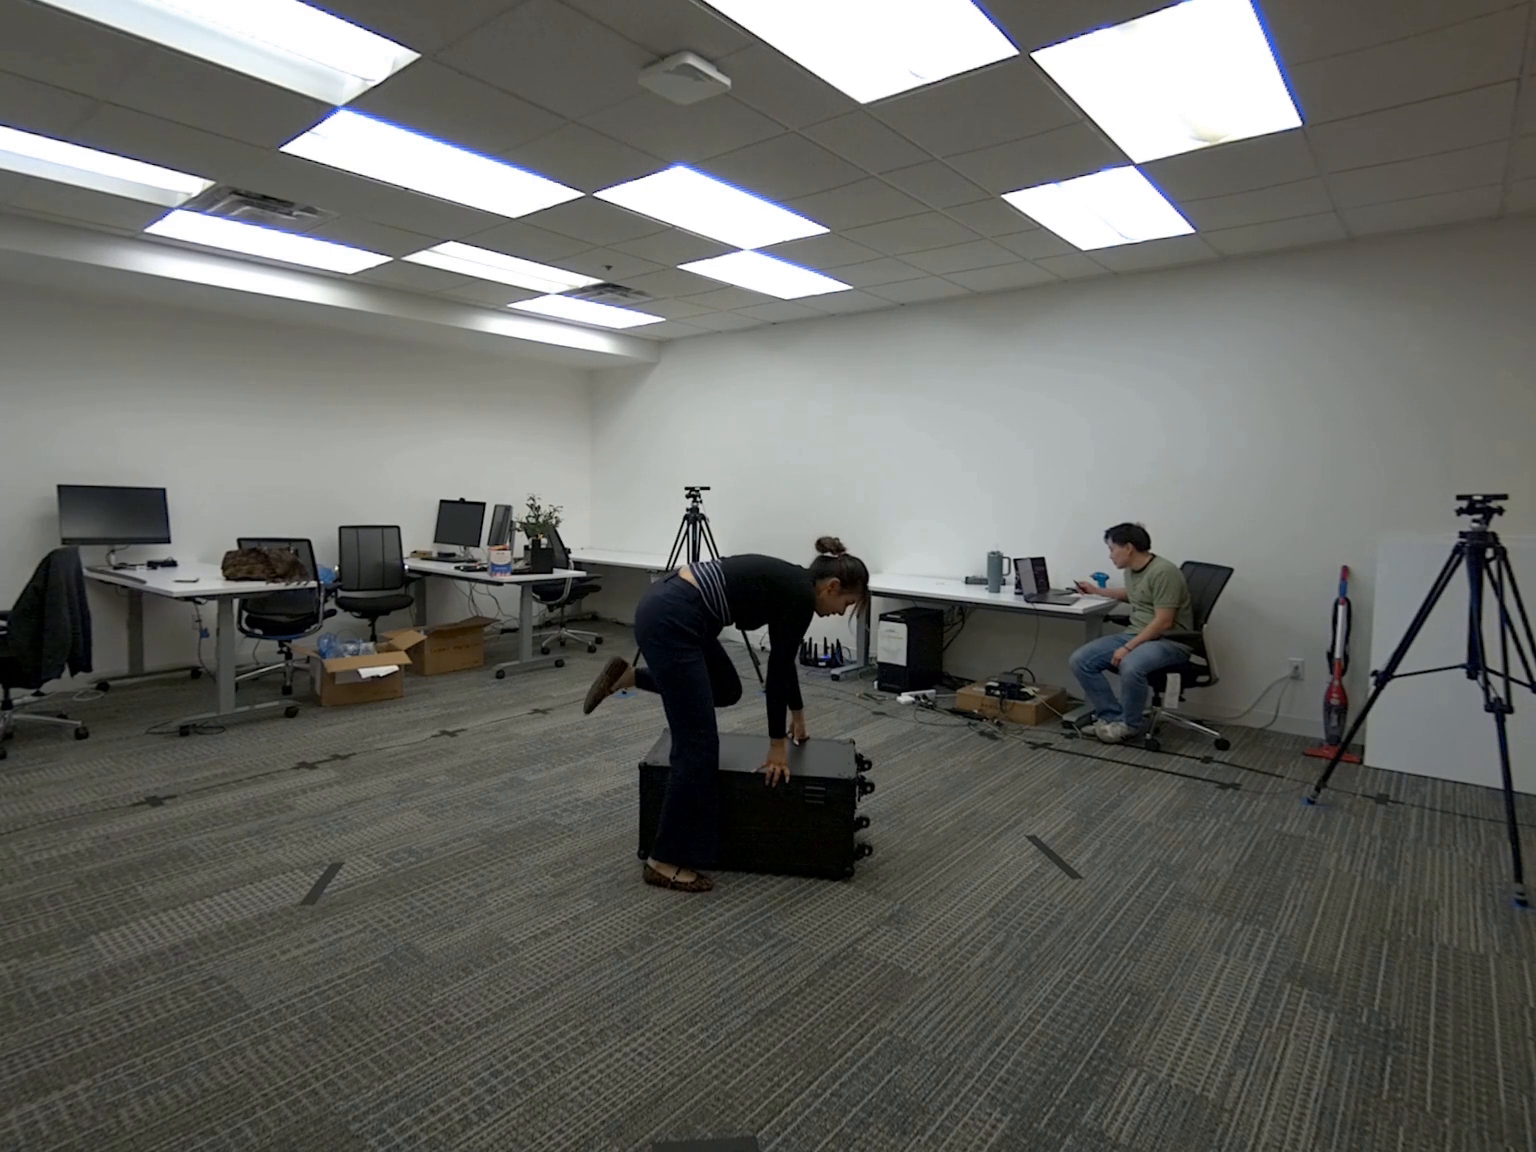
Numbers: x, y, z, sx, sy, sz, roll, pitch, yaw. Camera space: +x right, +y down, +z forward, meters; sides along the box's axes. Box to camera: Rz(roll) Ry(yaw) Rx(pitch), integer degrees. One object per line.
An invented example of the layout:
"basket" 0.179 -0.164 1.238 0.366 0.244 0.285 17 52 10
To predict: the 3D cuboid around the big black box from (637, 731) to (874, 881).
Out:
"big black box" -0.039 0.854 3.280 0.869 0.395 0.519 1 4 7
